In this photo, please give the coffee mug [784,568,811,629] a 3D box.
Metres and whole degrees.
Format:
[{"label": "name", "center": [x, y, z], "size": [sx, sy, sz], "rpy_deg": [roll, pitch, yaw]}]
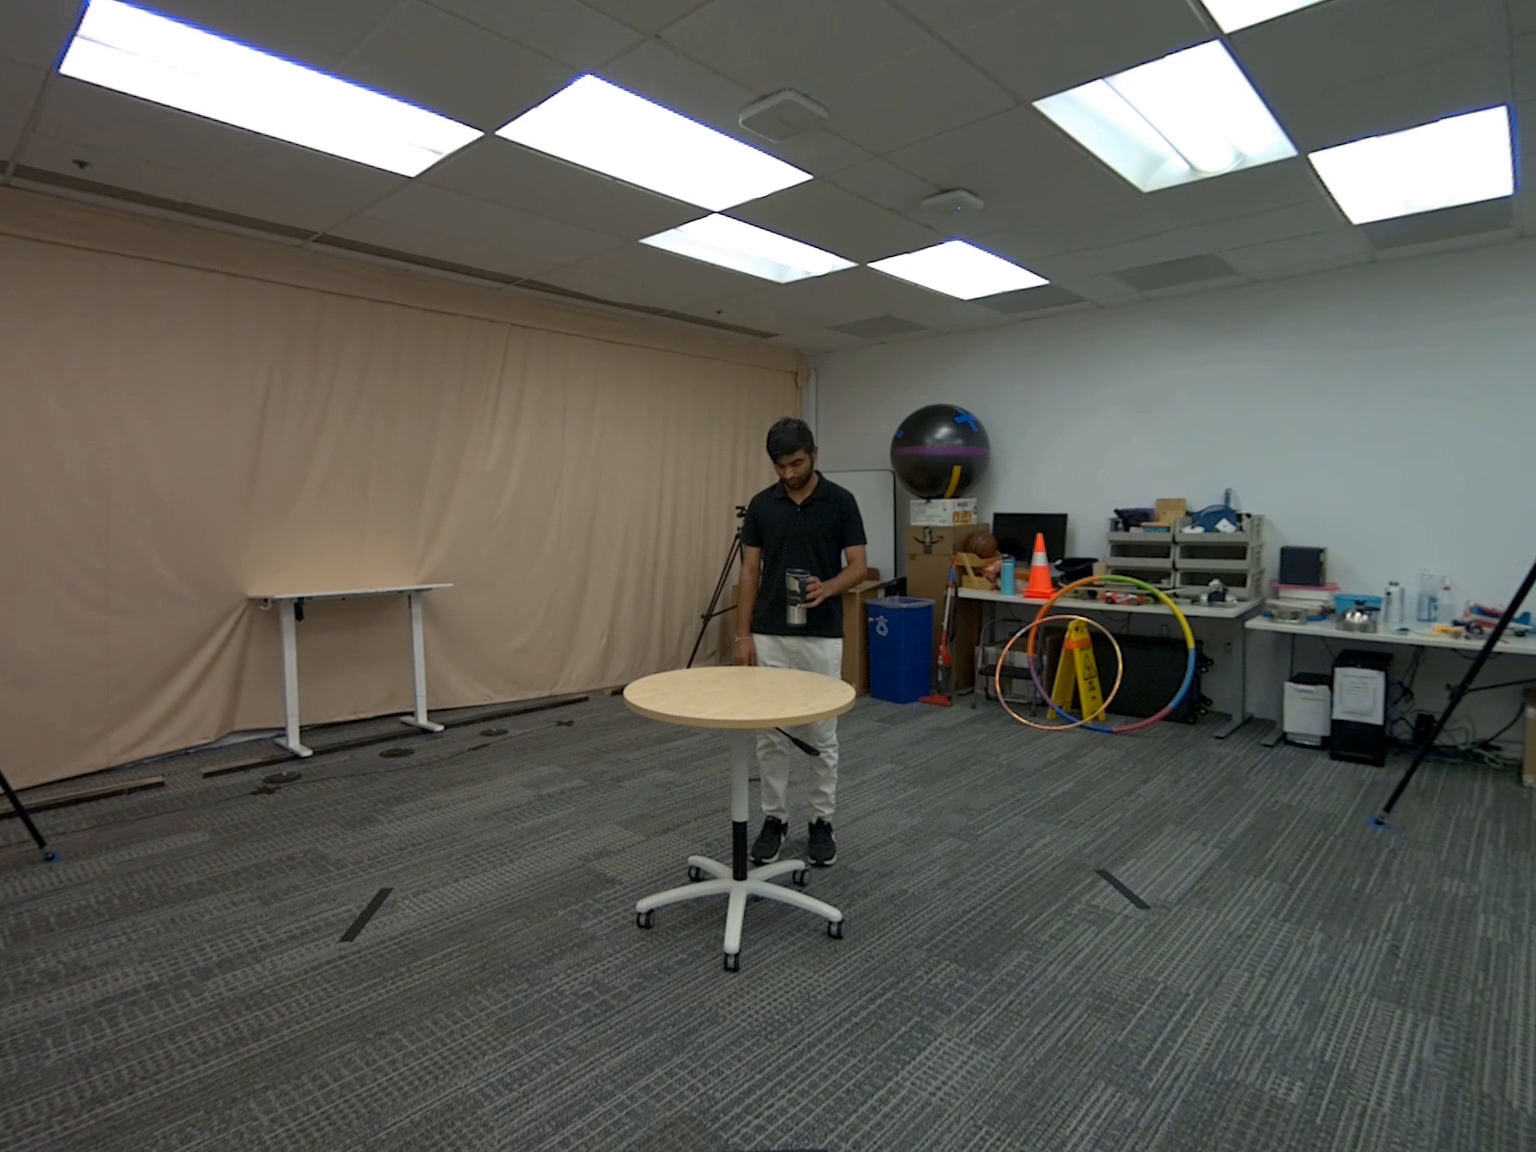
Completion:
[{"label": "coffee mug", "center": [0.099, 0.083, 3.012], "size": [0.090, 0.202, 0.119], "rpy_deg": [5, 6, 27]}]
